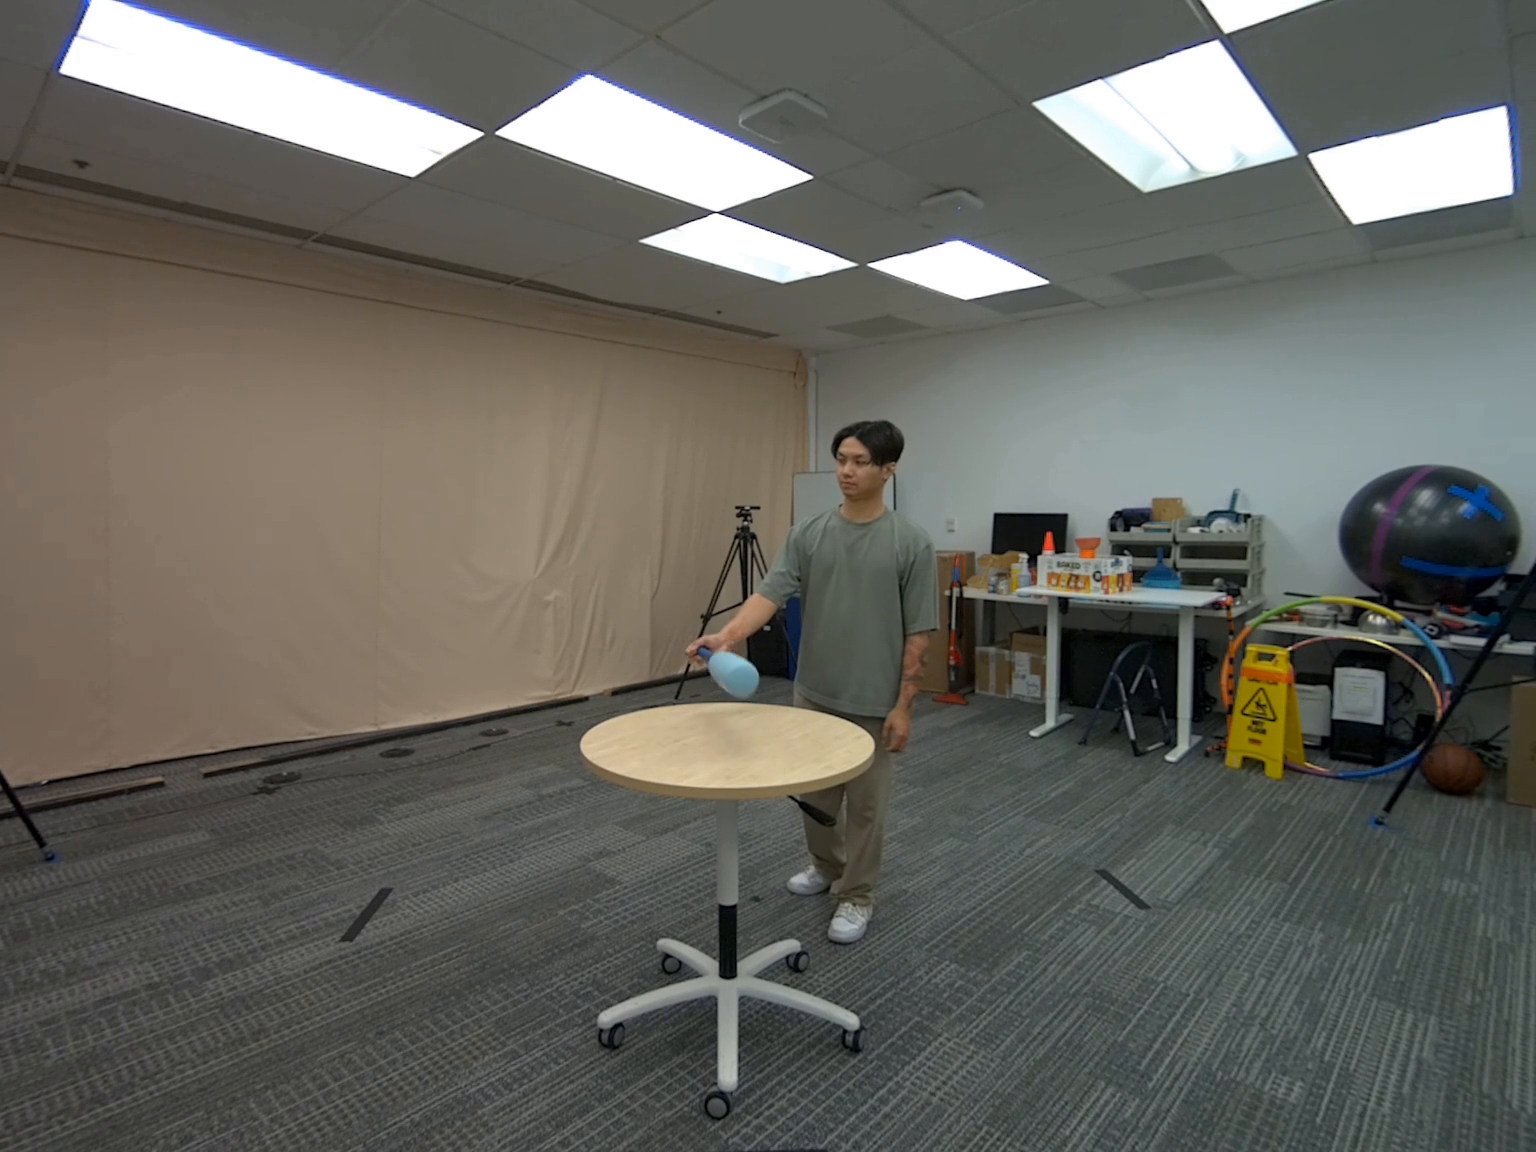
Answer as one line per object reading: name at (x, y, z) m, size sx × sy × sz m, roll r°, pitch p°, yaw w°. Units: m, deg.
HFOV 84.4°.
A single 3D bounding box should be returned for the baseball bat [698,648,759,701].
baseball bat at (-0.133, 0.225, 2.259) m, size 0.087 × 0.089 × 0.552 m, roll -1°, pitch 2°, yaw -17°
